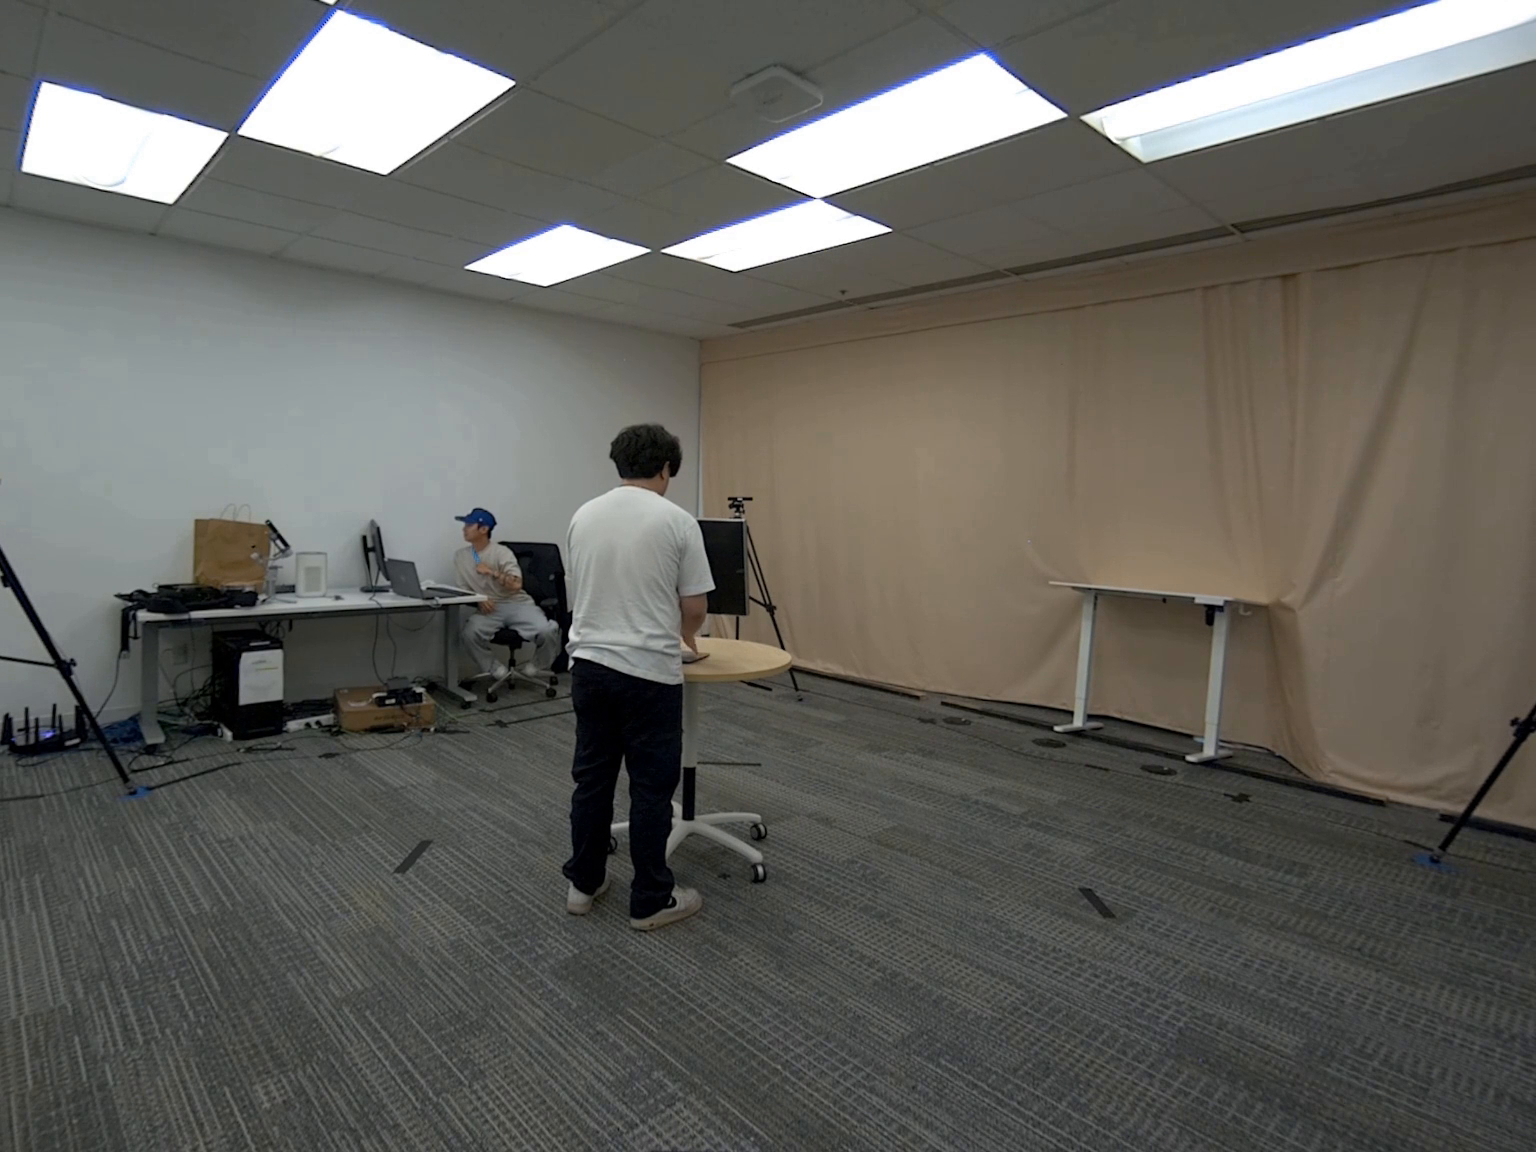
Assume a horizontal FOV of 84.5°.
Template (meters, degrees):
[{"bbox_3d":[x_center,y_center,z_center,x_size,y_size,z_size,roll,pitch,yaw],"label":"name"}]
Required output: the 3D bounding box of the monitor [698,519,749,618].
[{"bbox_3d":[-0.380,0.055,3.130,0.575,0.551,0.207,3,7,22],"label":"monitor"}]
